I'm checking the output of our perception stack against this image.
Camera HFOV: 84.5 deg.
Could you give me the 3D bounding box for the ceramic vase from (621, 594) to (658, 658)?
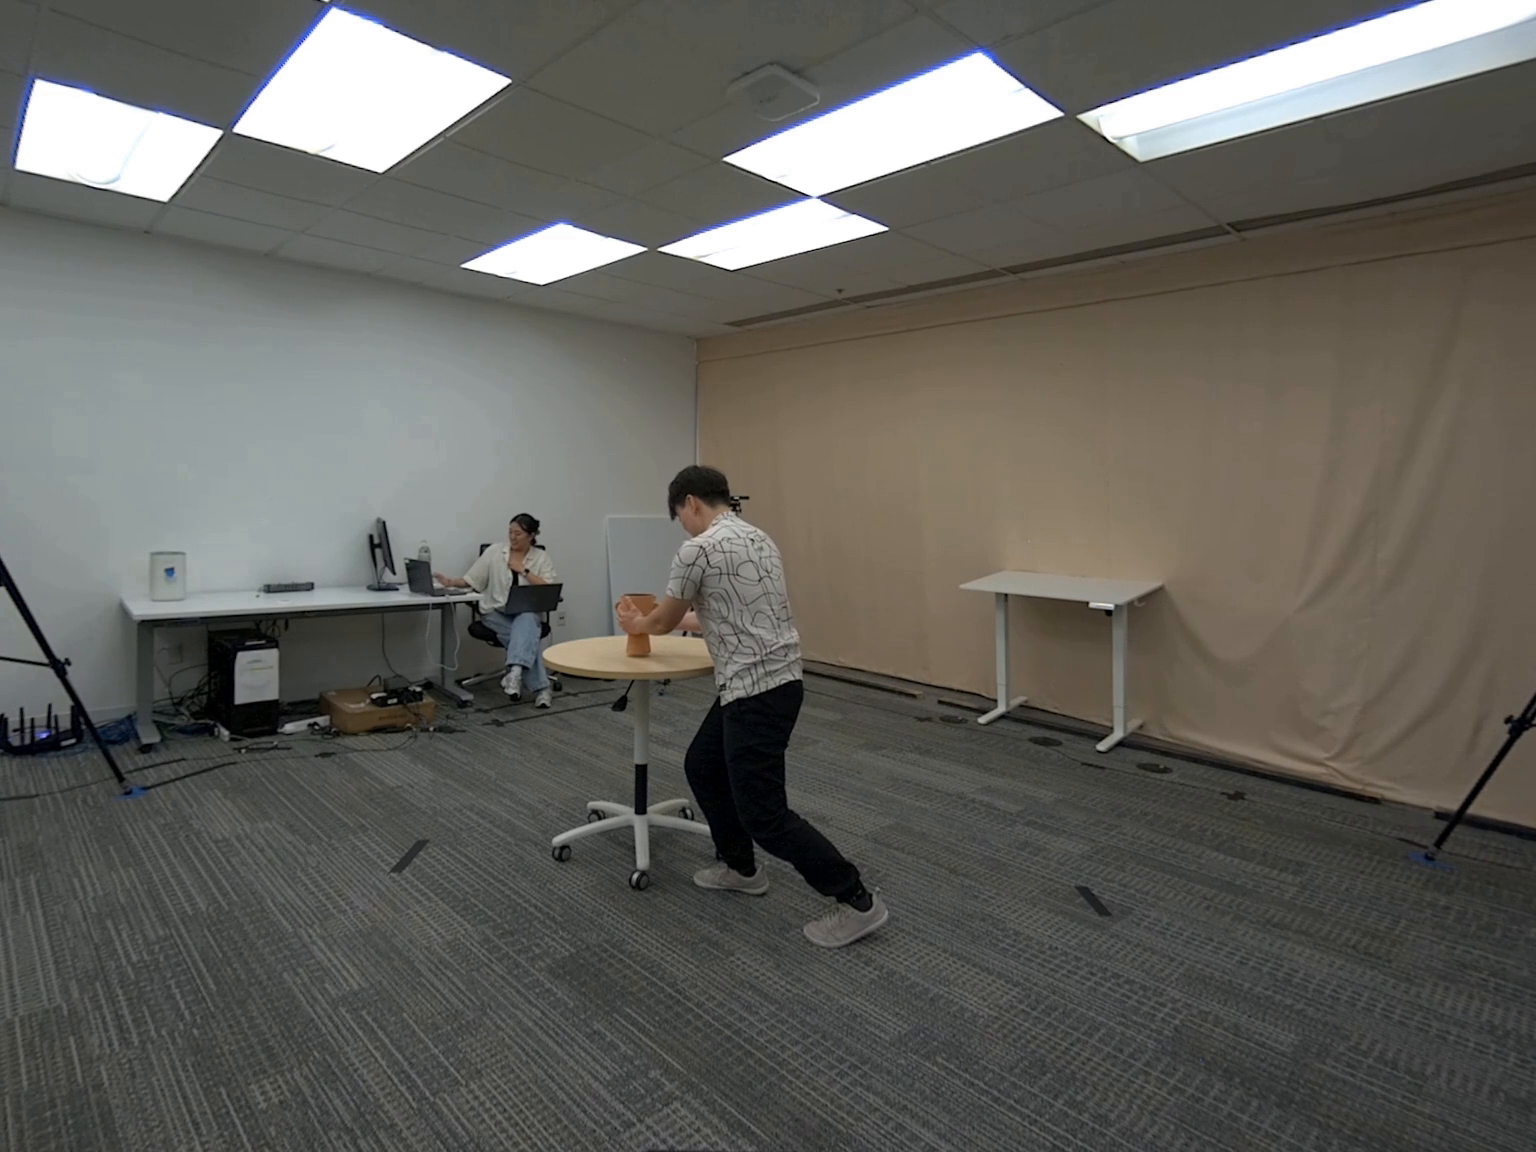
[{"bbox_3d":[-0.497,0.183,3.201,0.132,0.219,0.162,-1,2,-34],"label":"ceramic vase"}]
